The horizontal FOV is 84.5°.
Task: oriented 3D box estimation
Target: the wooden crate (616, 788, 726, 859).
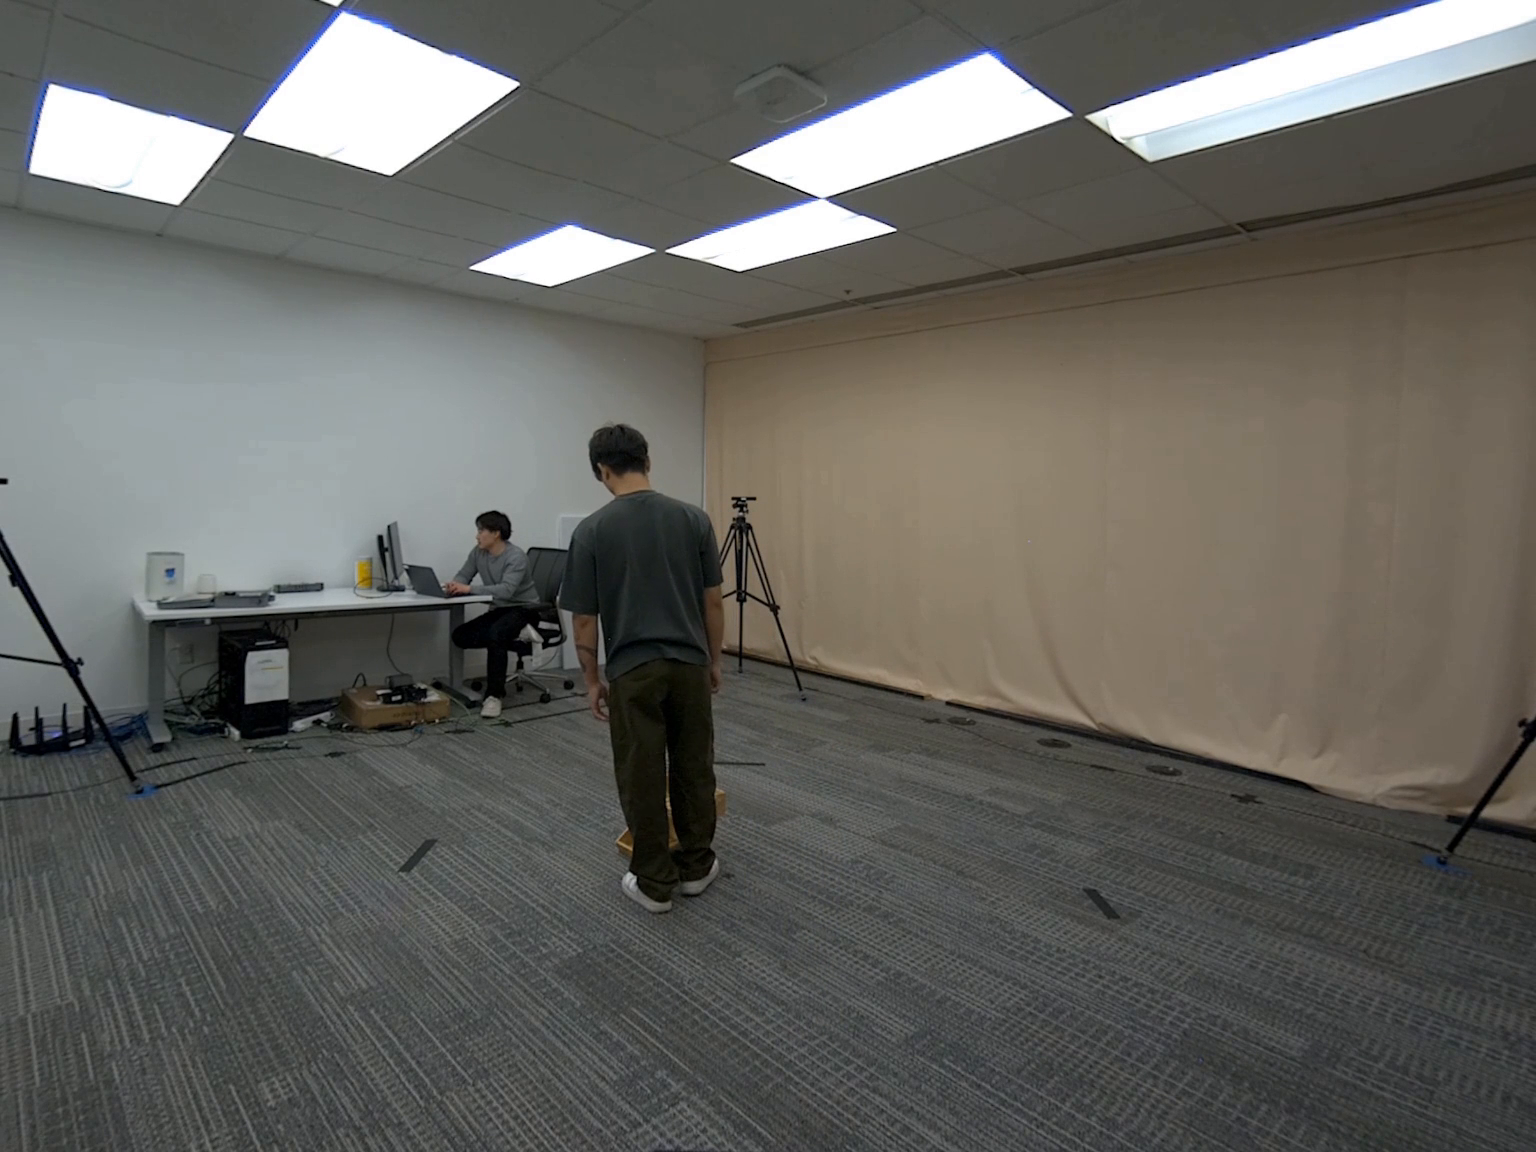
[{"bbox_3d":[-0.388,0.959,3.262,0.295,0.272,0.333,-2,5,-43],"label":"wooden crate"}]
